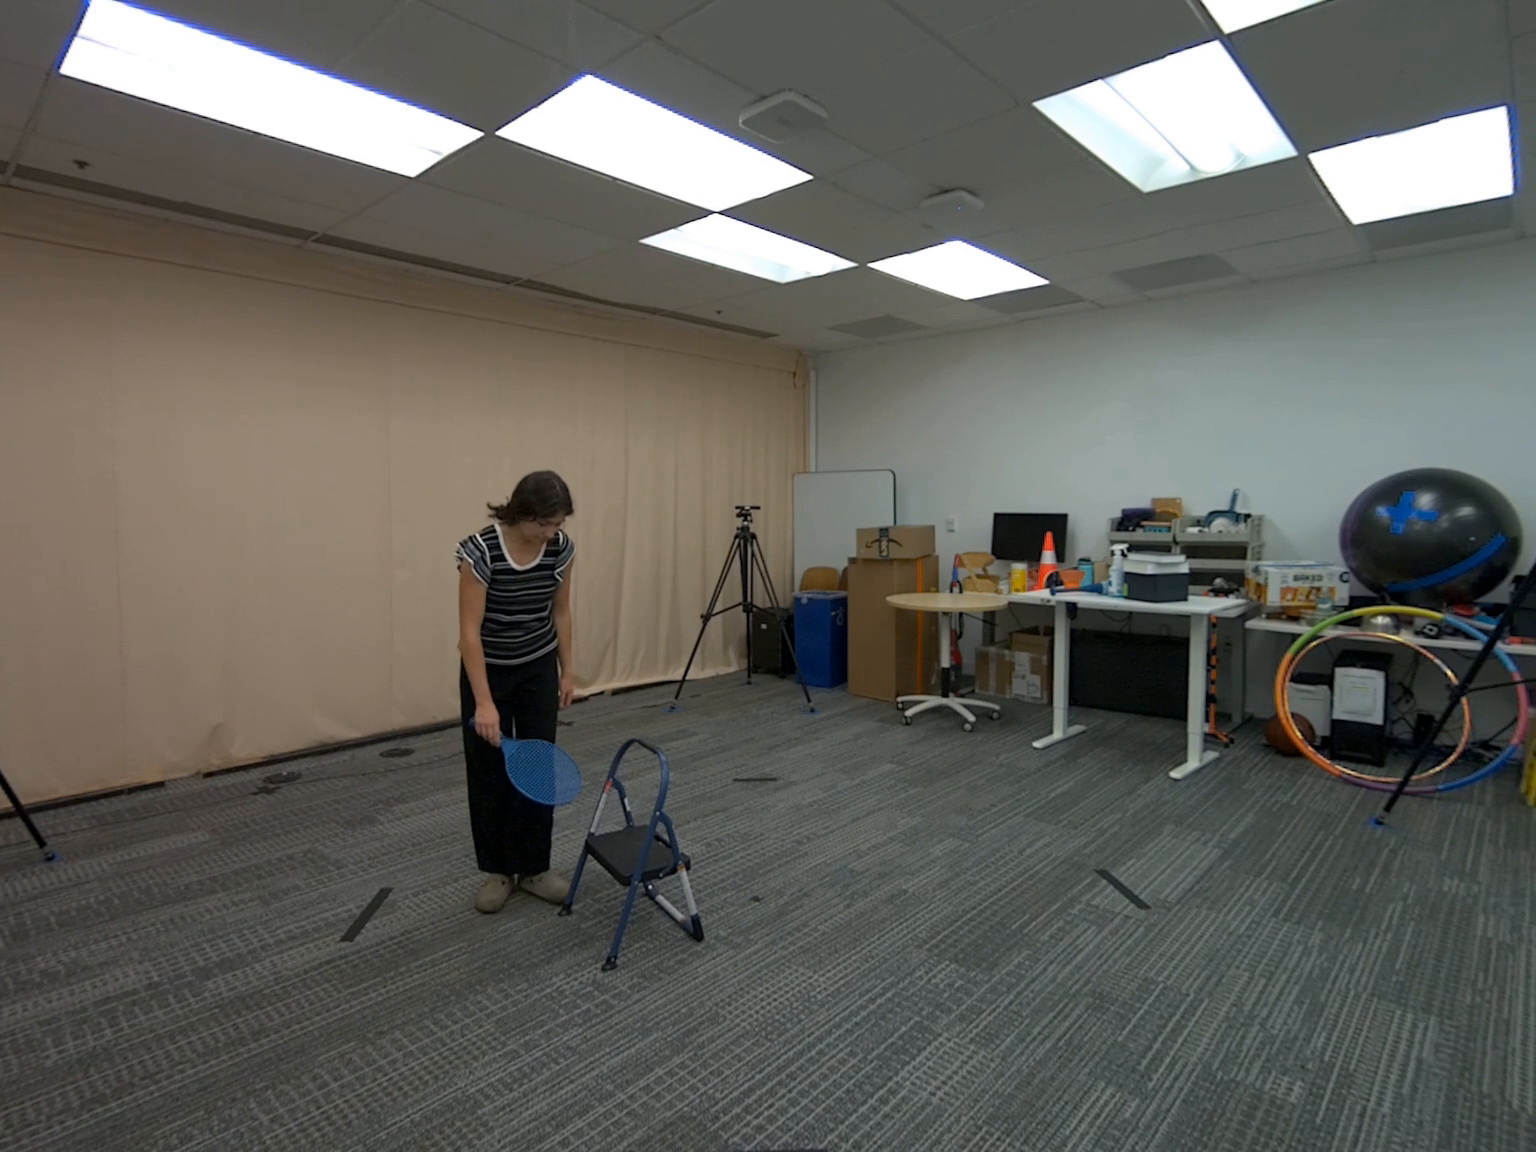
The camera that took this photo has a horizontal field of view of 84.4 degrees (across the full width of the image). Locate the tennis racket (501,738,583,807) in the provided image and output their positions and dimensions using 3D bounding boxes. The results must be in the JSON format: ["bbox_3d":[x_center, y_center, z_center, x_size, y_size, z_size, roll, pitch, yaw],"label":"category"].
[{"bbox_3d":[-0.780,0.594,2.747,0.436,0.032,0.212,33,39,6],"label":"tennis racket"}]
